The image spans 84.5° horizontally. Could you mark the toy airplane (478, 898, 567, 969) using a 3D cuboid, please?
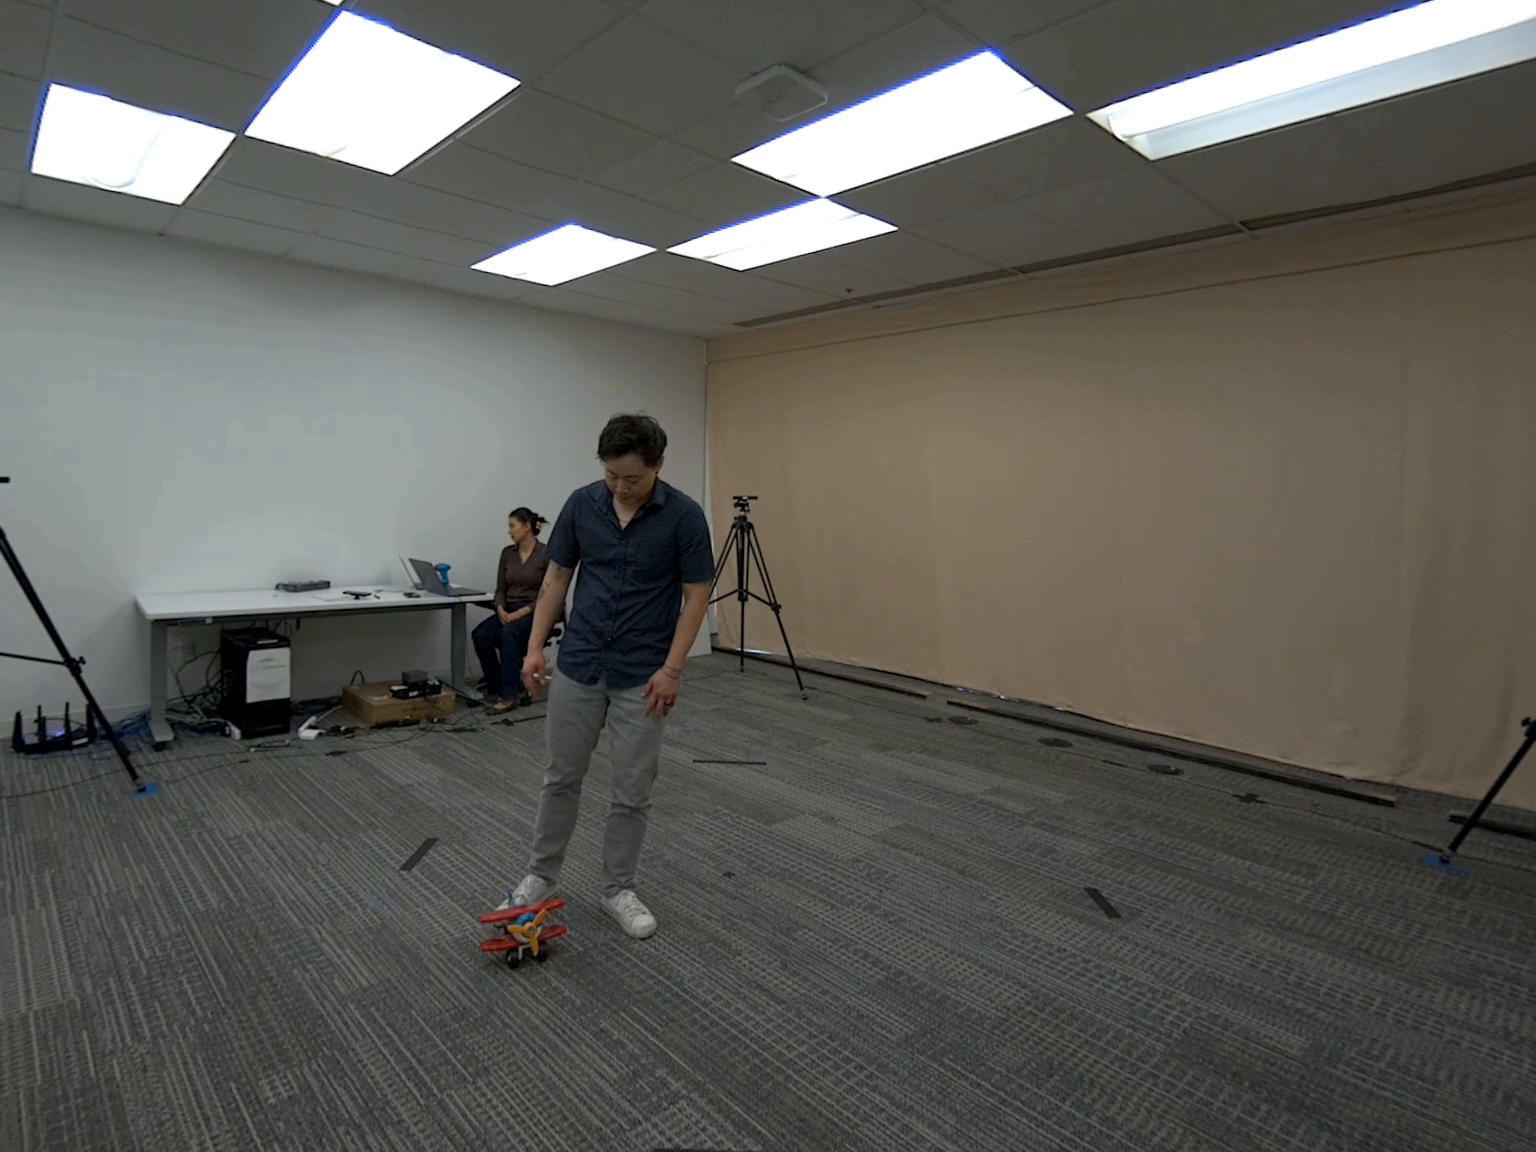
[{"bbox_3d":[-0.778,1.074,2.541,0.265,0.155,0.246,7,9,33],"label":"toy airplane"}]
